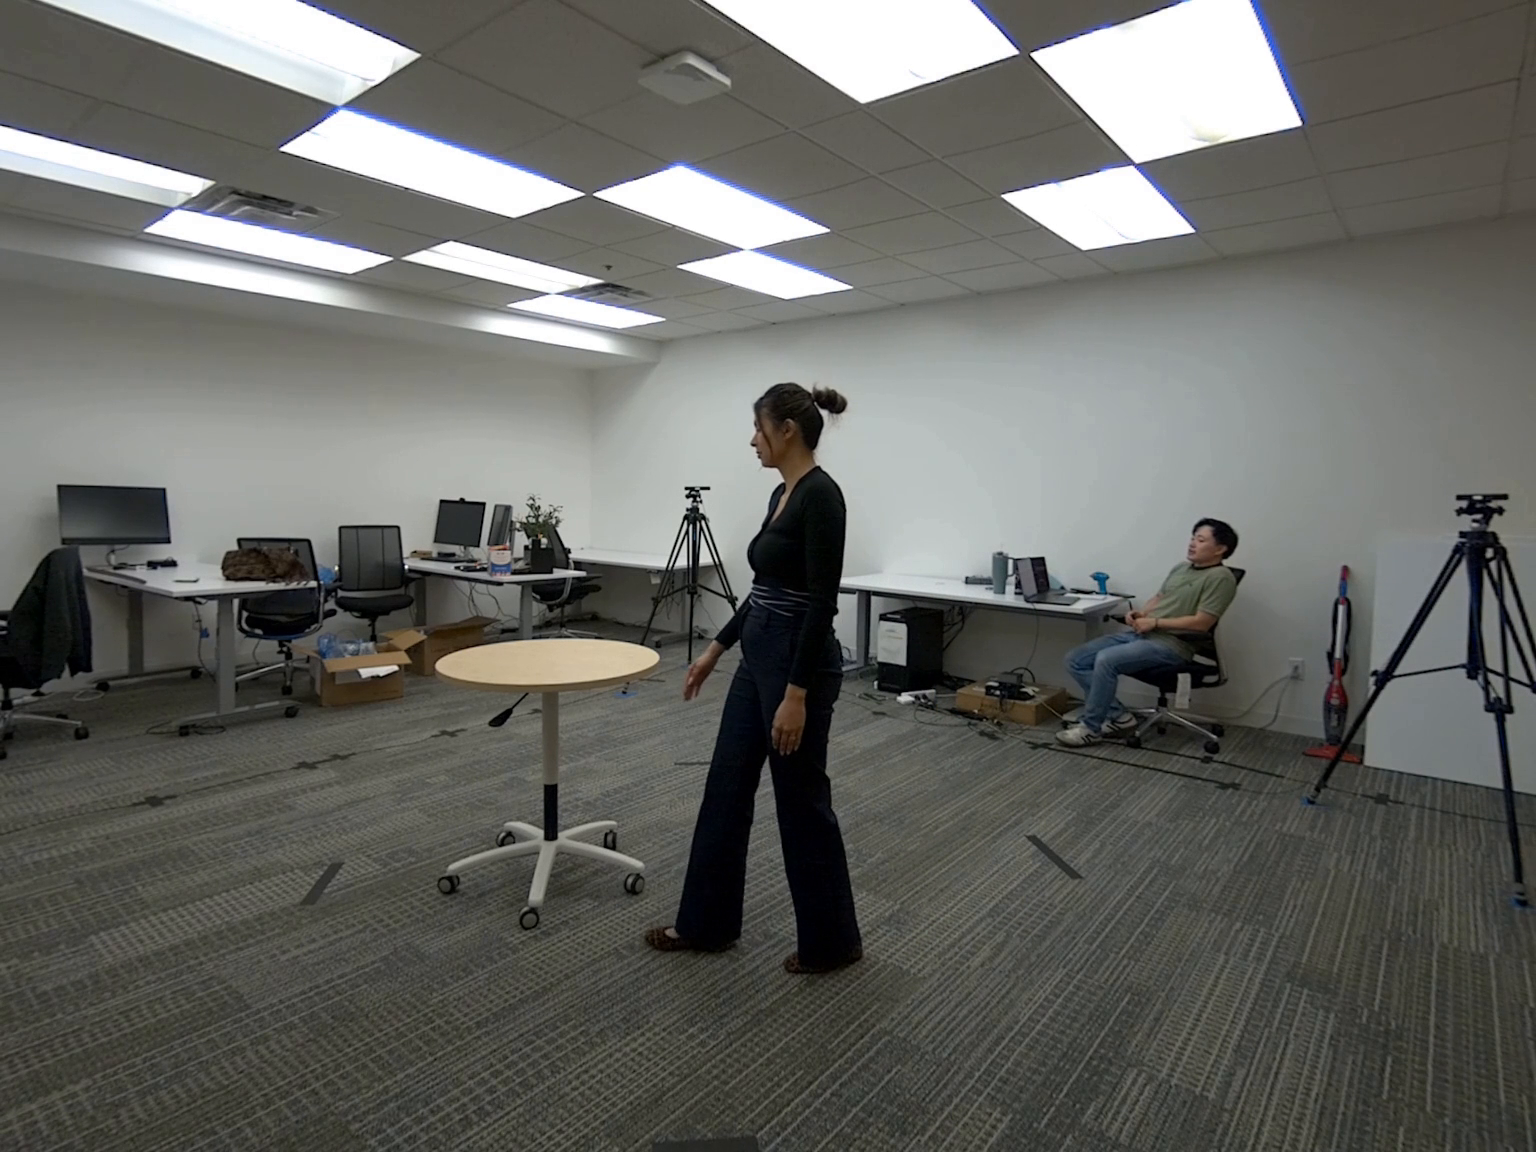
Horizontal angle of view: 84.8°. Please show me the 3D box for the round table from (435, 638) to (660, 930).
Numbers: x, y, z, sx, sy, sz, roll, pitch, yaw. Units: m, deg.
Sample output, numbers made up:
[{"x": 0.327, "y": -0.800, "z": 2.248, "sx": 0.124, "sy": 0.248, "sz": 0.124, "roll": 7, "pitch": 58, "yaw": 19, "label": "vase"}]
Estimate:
[{"x": -0.777, "y": 0.681, "z": 2.999, "sx": 0.763, "sy": 0.791, "sz": 0.768, "roll": 0, "pitch": 4, "yaw": -2, "label": "round table"}]
